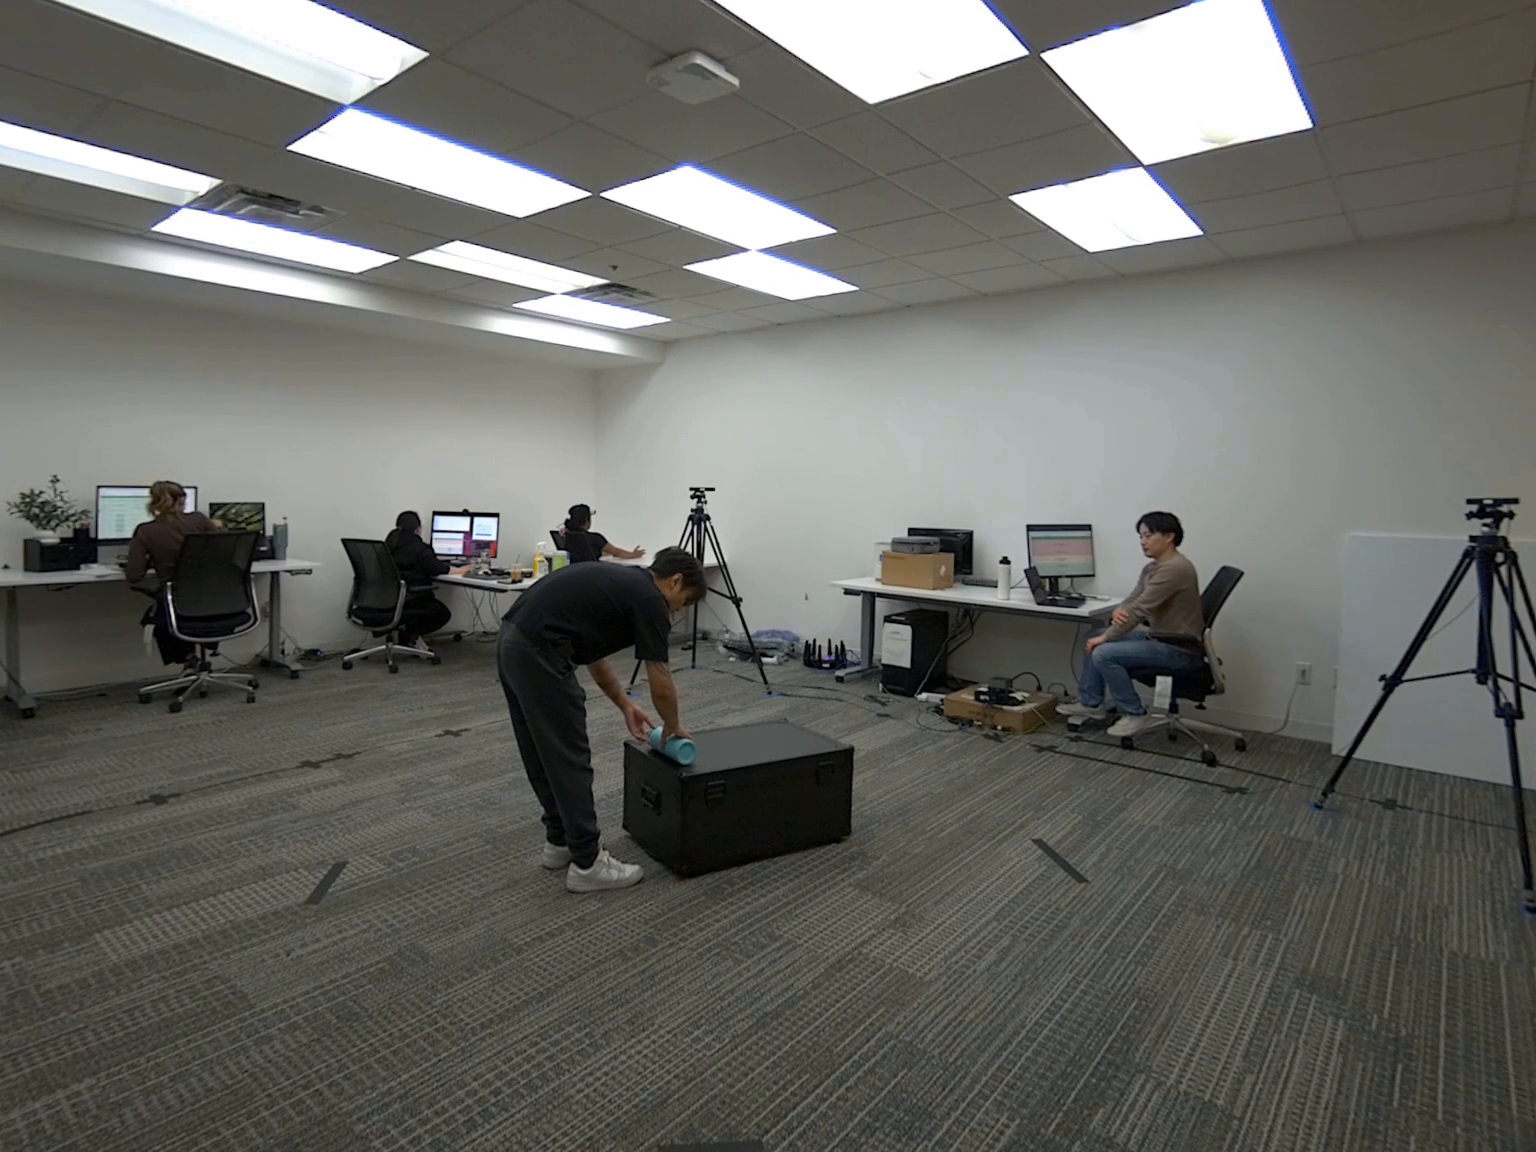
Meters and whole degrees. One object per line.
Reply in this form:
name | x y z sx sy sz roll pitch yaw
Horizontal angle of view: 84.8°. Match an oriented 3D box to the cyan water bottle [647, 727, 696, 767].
cyan water bottle | -0.389 0.629 3.220 0.090 0.092 0.292 -2 5 -33
